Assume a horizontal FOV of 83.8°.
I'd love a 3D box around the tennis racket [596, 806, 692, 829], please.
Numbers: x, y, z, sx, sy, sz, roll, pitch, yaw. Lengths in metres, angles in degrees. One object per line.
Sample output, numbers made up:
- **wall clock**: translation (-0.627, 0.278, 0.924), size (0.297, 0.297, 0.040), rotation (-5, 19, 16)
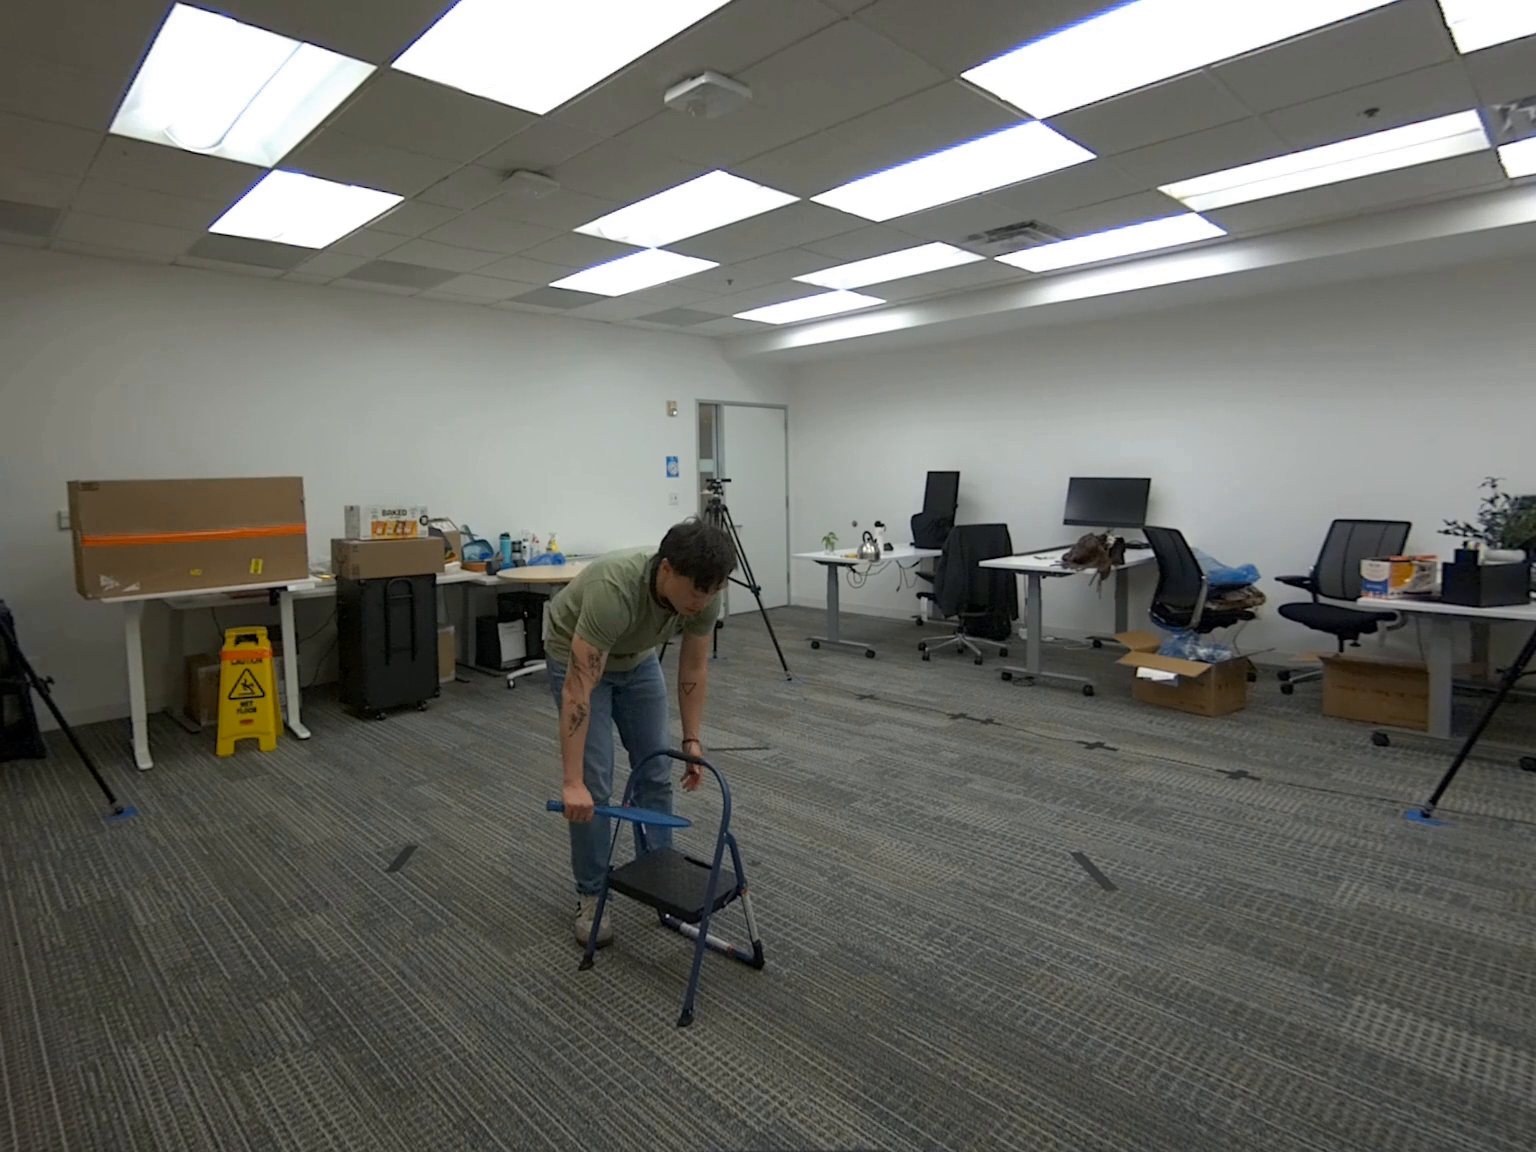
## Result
- **tennis racket**: translation (-0.420, 0.680, 2.429), size (0.422, 0.032, 0.217), rotation (15, -10, -23)
